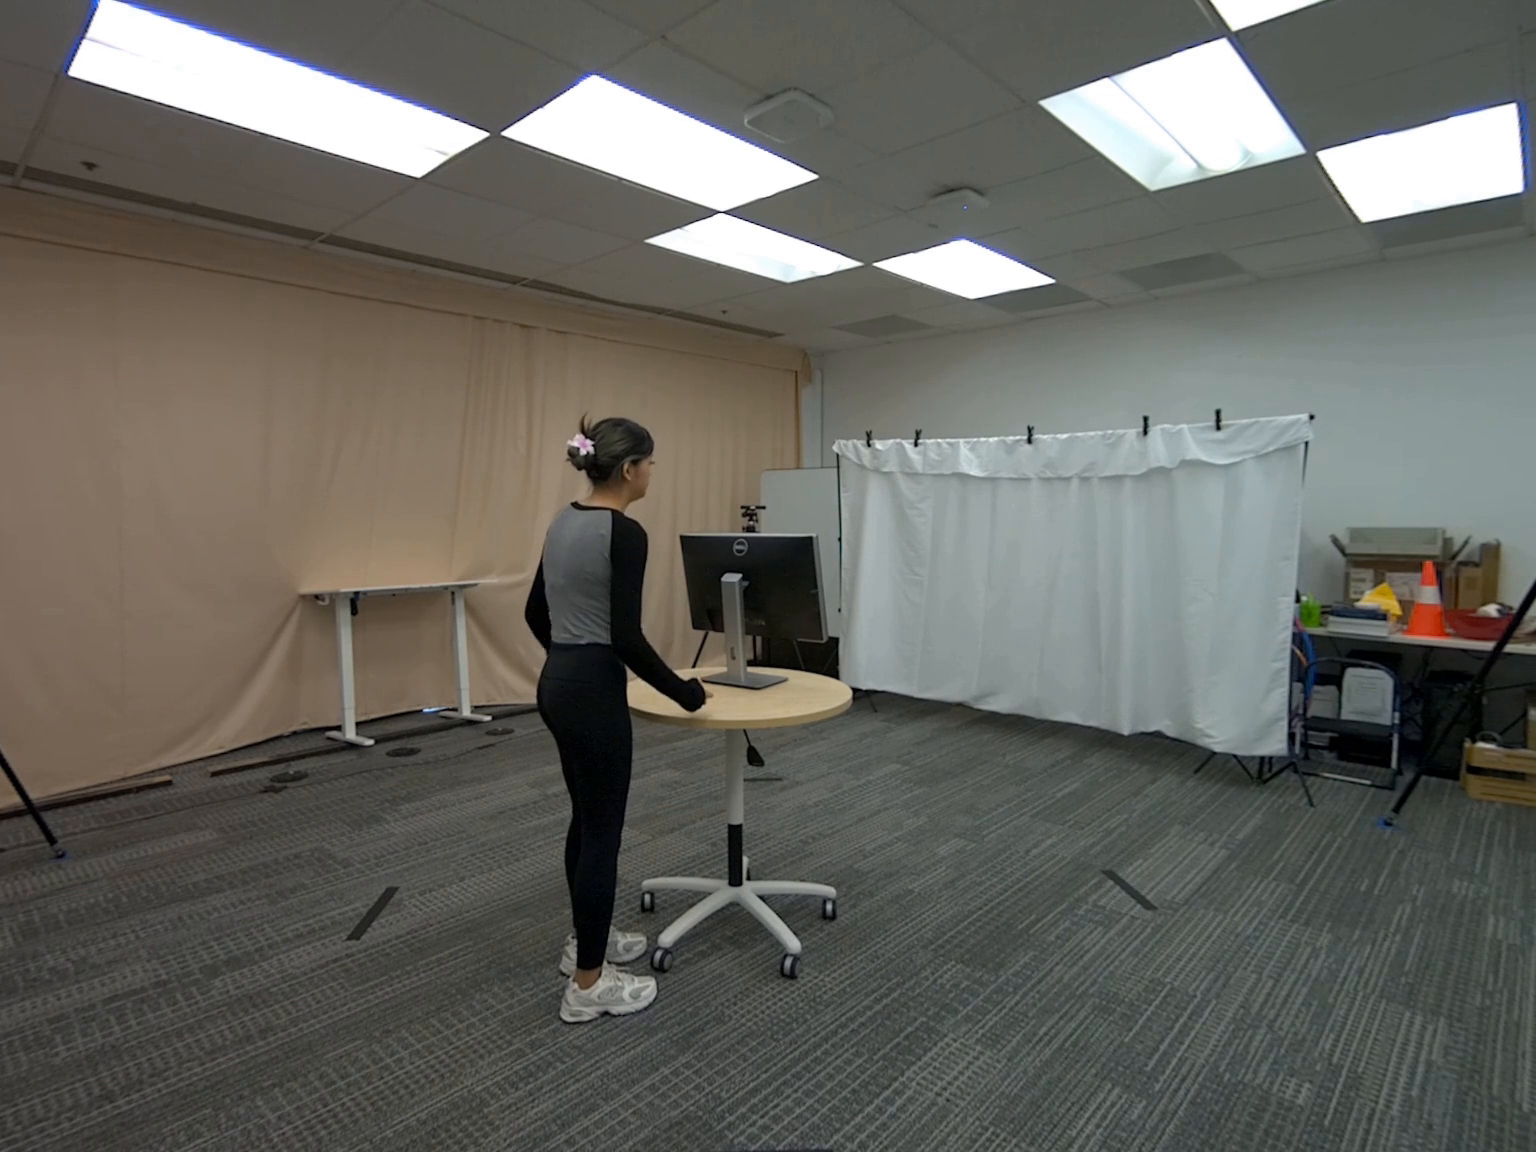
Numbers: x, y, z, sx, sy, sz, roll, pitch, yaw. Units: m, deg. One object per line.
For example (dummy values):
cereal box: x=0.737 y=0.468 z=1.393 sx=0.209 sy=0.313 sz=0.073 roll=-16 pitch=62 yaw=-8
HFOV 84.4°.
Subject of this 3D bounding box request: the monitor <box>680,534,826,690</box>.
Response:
monitor: x=-0.078 y=0.119 z=2.877 sx=0.556 sy=0.522 sz=0.181 roll=2 pitch=0 yaw=34
